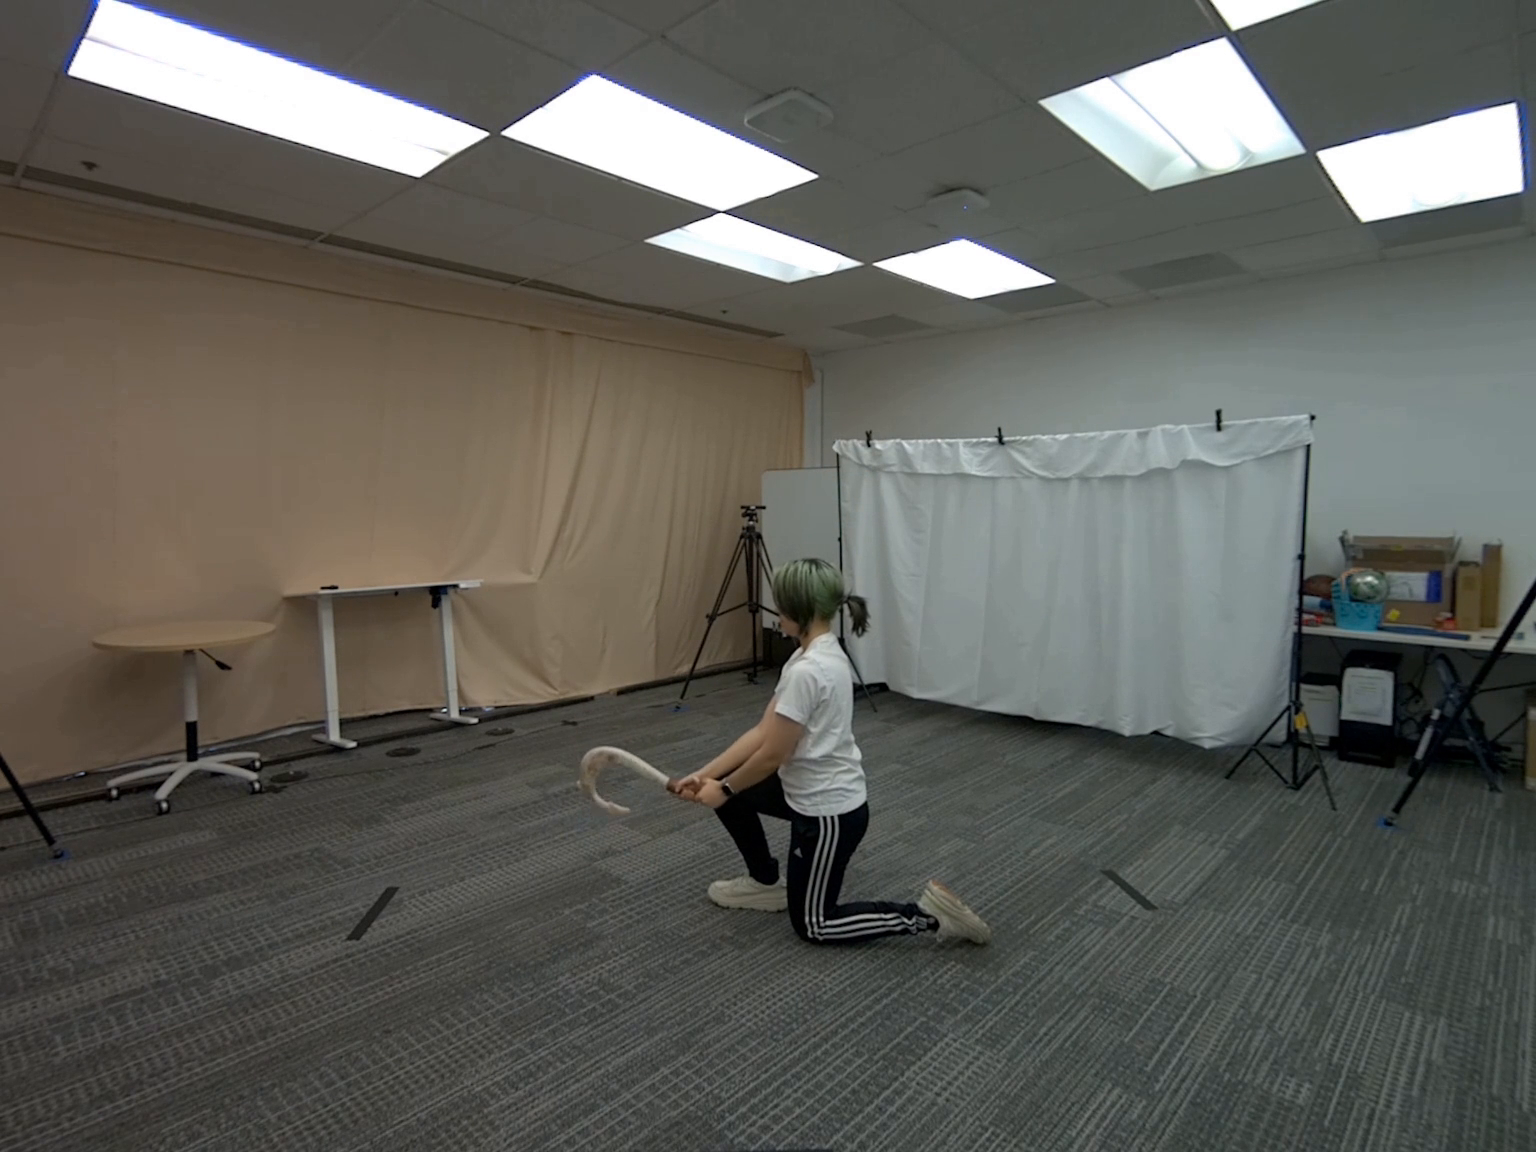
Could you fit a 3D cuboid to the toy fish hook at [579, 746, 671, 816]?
[{"bbox_3d":[-0.386,0.710,2.788,0.513,0.223,0.048,13,10,11],"label":"toy fish hook"}]
